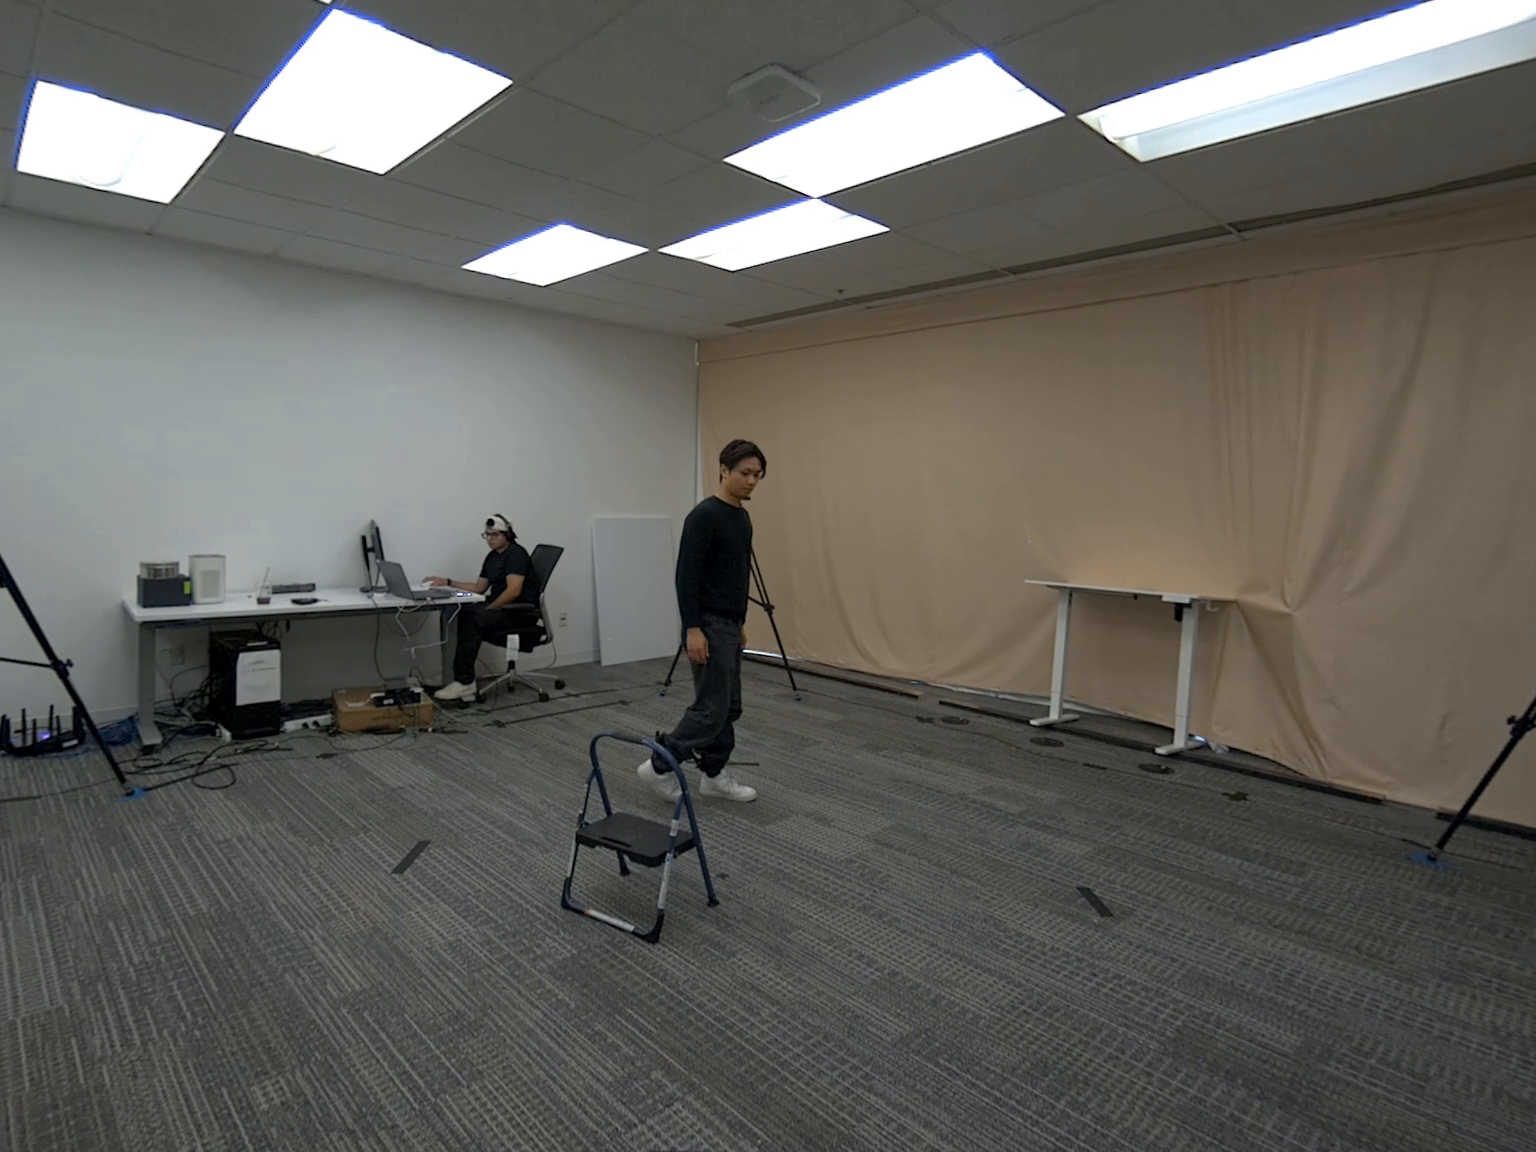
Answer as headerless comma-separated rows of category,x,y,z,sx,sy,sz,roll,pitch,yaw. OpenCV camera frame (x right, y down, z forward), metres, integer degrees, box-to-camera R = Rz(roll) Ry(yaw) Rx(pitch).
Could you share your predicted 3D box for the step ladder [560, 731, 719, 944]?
step ladder,-0.440,0.822,2.848,0.440,0.605,0.342,3,4,33
